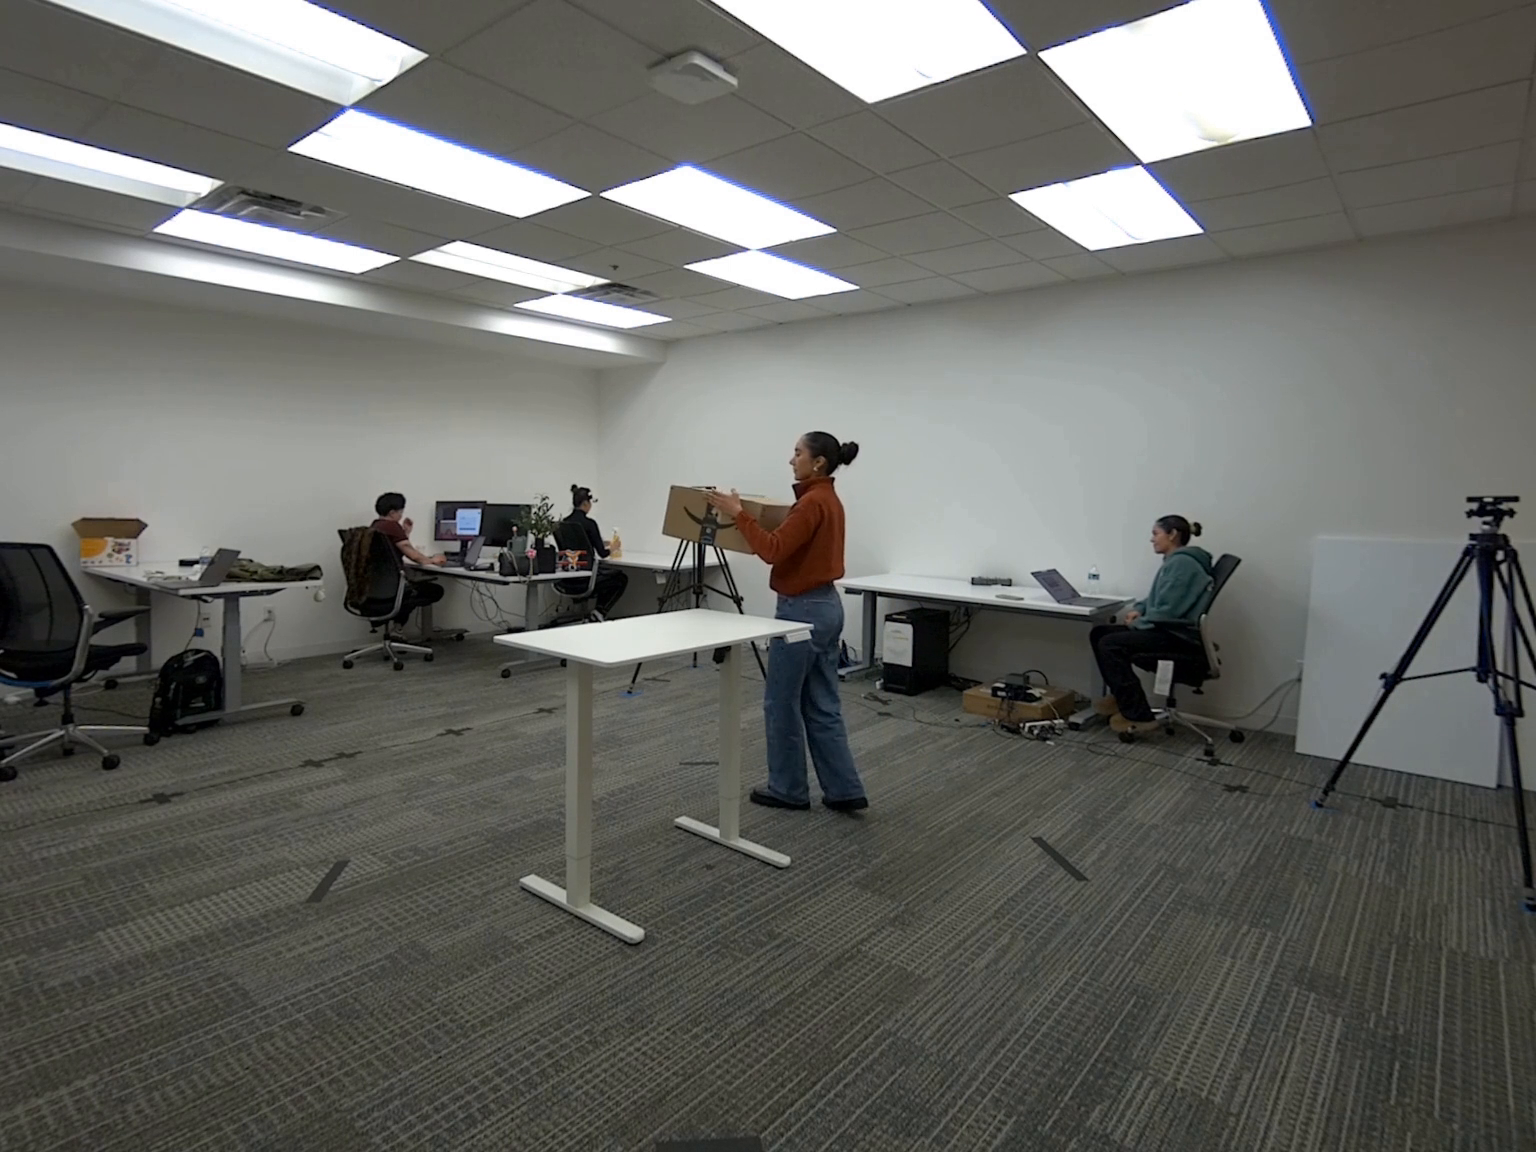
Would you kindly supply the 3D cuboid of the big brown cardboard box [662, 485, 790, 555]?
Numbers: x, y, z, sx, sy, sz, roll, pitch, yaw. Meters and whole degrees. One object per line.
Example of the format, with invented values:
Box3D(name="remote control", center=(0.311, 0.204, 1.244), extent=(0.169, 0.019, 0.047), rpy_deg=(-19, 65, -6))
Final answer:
Box3D(name="big brown cardboard box", center=(-0.171, -0.261, 3.806), extent=(0.426, 0.232, 0.580), rpy_deg=(12, 8, 16))
